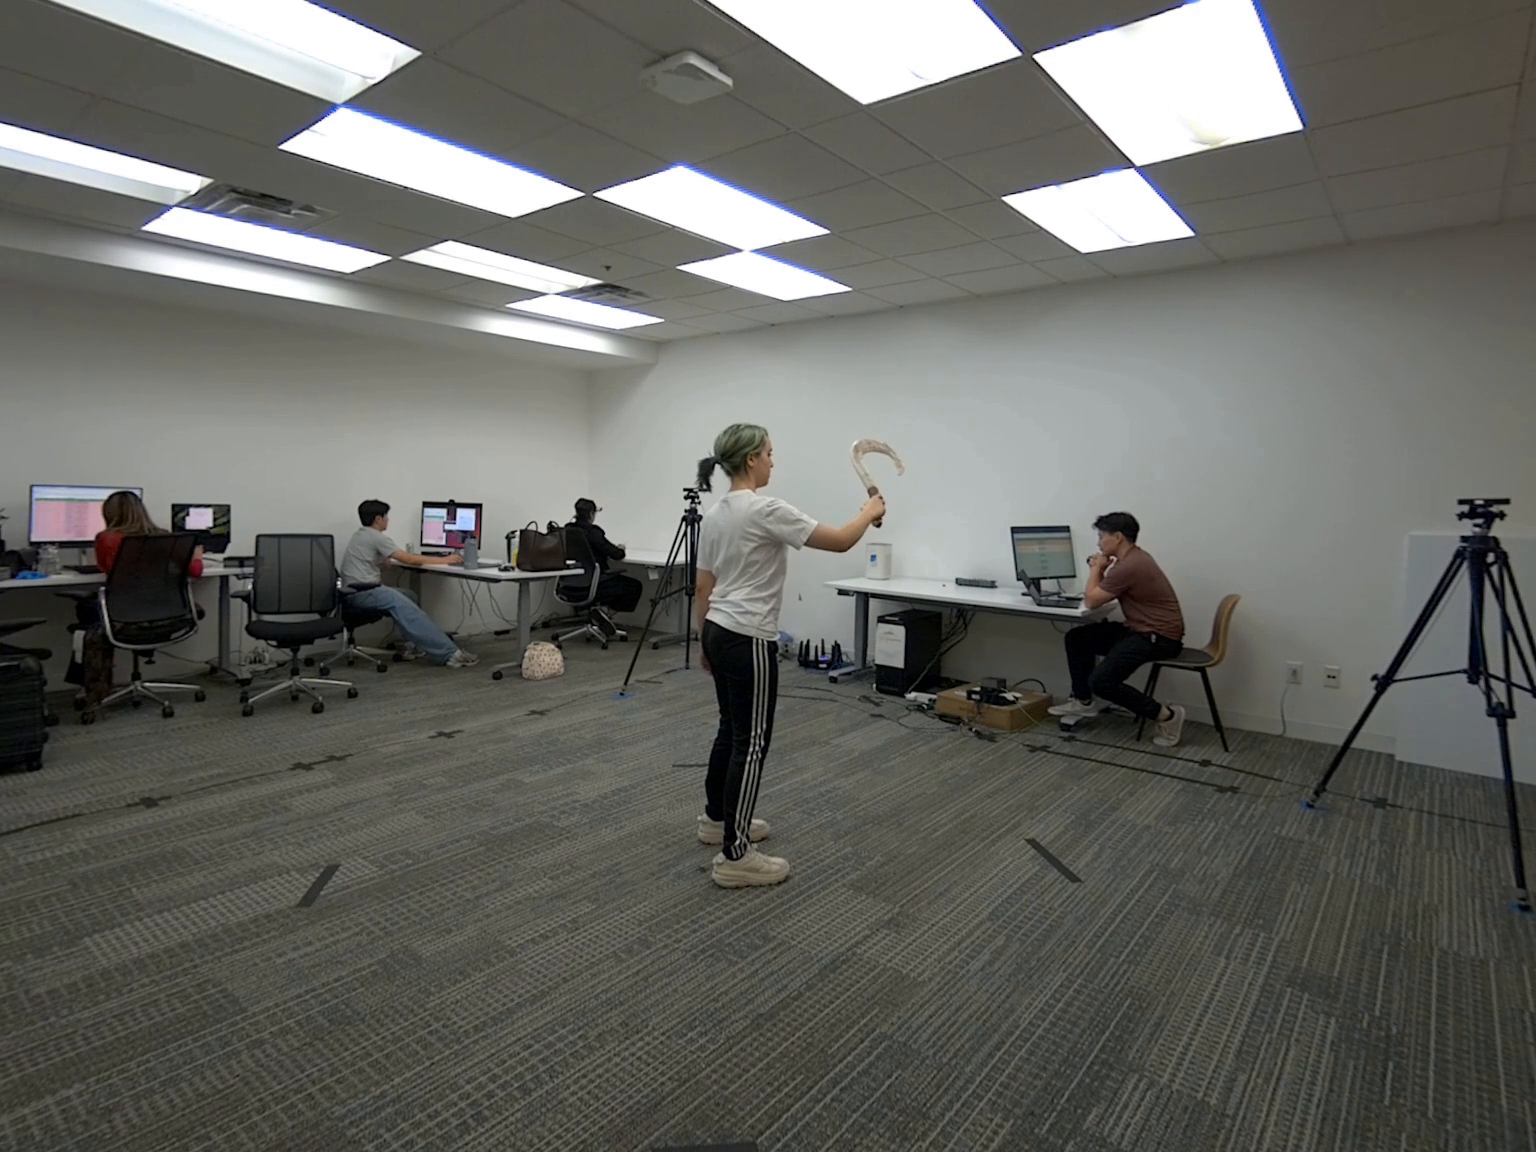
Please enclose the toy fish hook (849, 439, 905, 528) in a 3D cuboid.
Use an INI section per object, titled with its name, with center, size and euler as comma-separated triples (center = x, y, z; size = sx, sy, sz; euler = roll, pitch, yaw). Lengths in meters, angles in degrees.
[toy fish hook]
center = 0.455, -0.365, 3.402
size = 0.223, 0.521, 0.047
euler = 3, -41, -6
